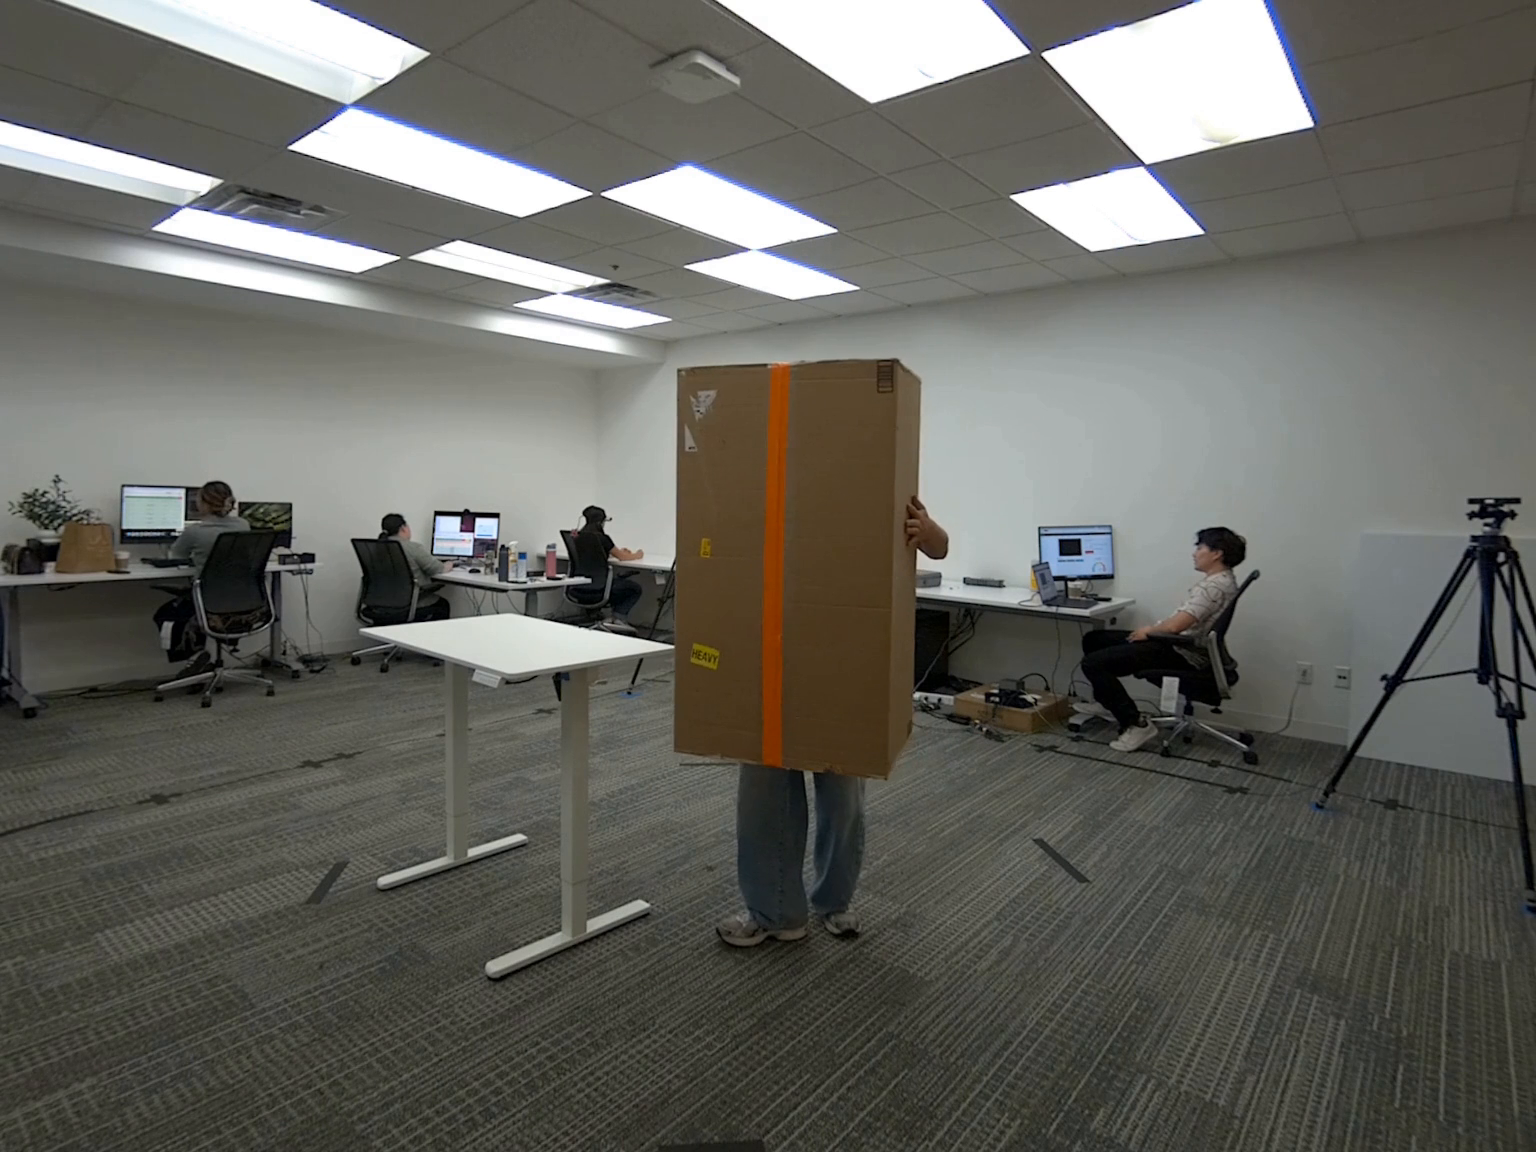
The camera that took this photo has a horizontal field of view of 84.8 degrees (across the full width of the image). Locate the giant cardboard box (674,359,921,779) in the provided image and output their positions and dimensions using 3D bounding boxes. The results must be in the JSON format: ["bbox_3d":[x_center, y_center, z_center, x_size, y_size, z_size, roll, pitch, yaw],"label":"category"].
[{"bbox_3d":[0.084,-0.055,2.332,0.590,1.023,0.418,2,3,21],"label":"giant cardboard box"}]
